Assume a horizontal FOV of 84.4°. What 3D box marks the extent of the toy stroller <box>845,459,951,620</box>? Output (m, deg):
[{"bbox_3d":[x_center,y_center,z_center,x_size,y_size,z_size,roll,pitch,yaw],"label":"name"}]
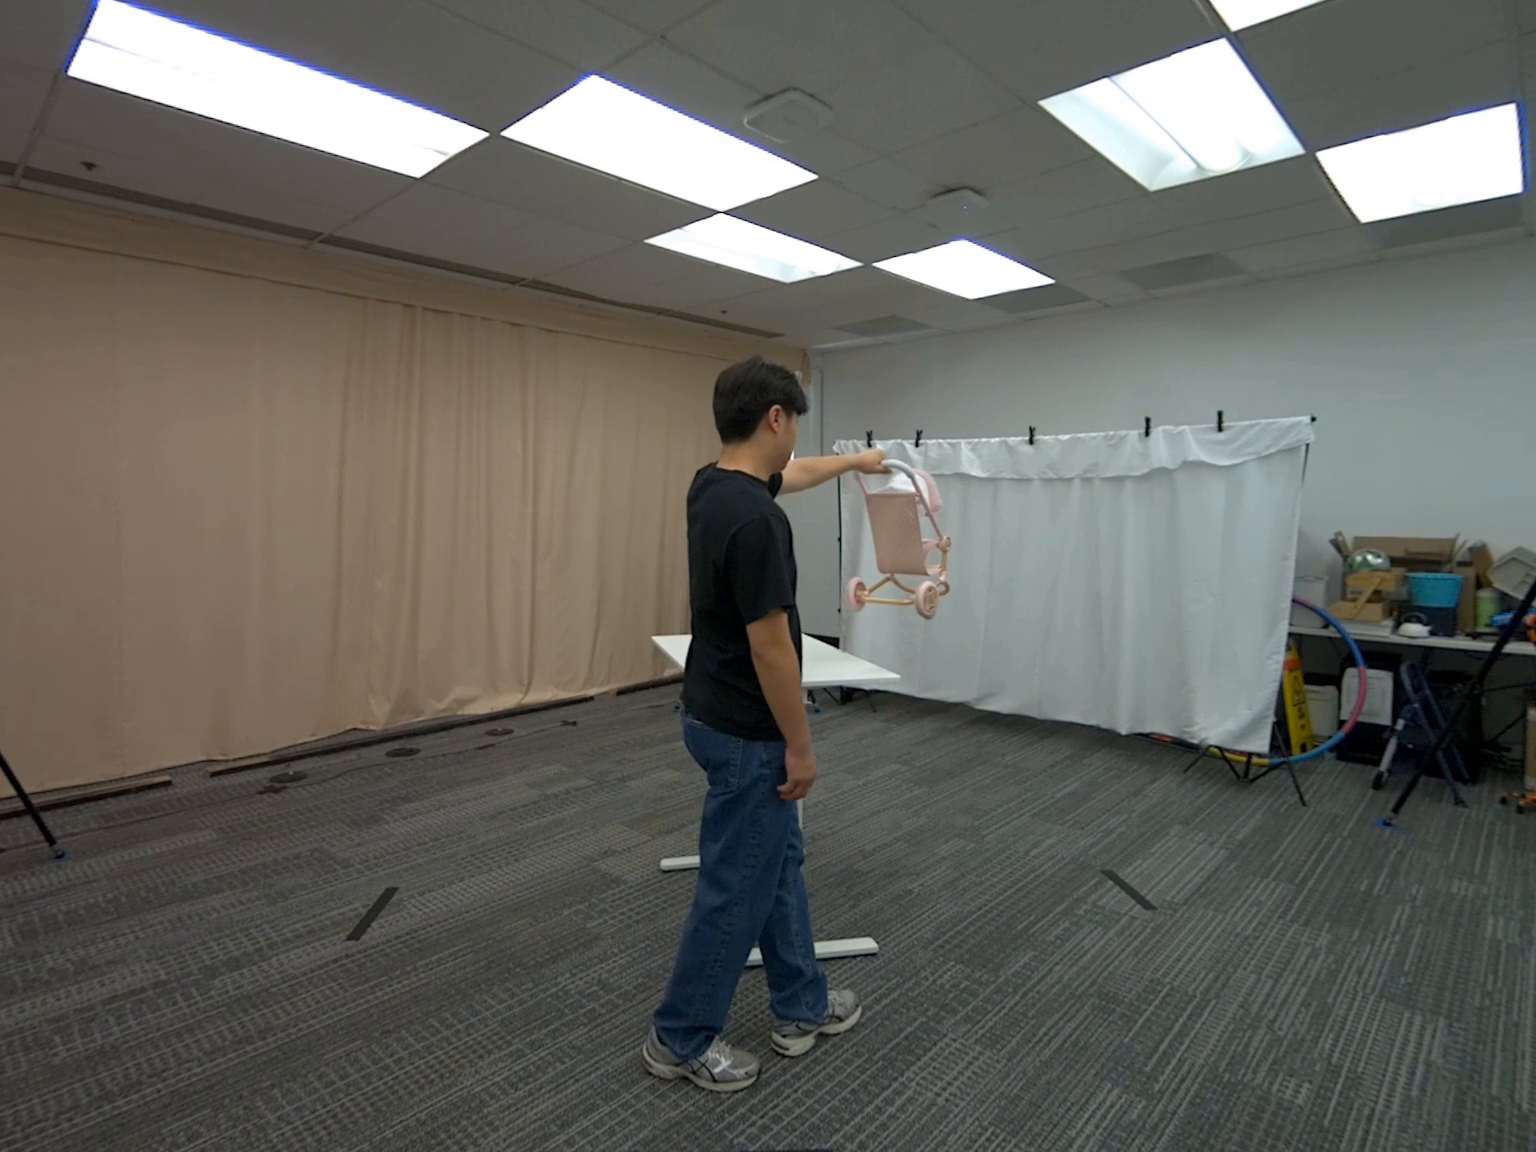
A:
[{"bbox_3d":[0.450,-0.102,2.682,0.291,0.533,0.331,2,7,44],"label":"toy stroller"}]
